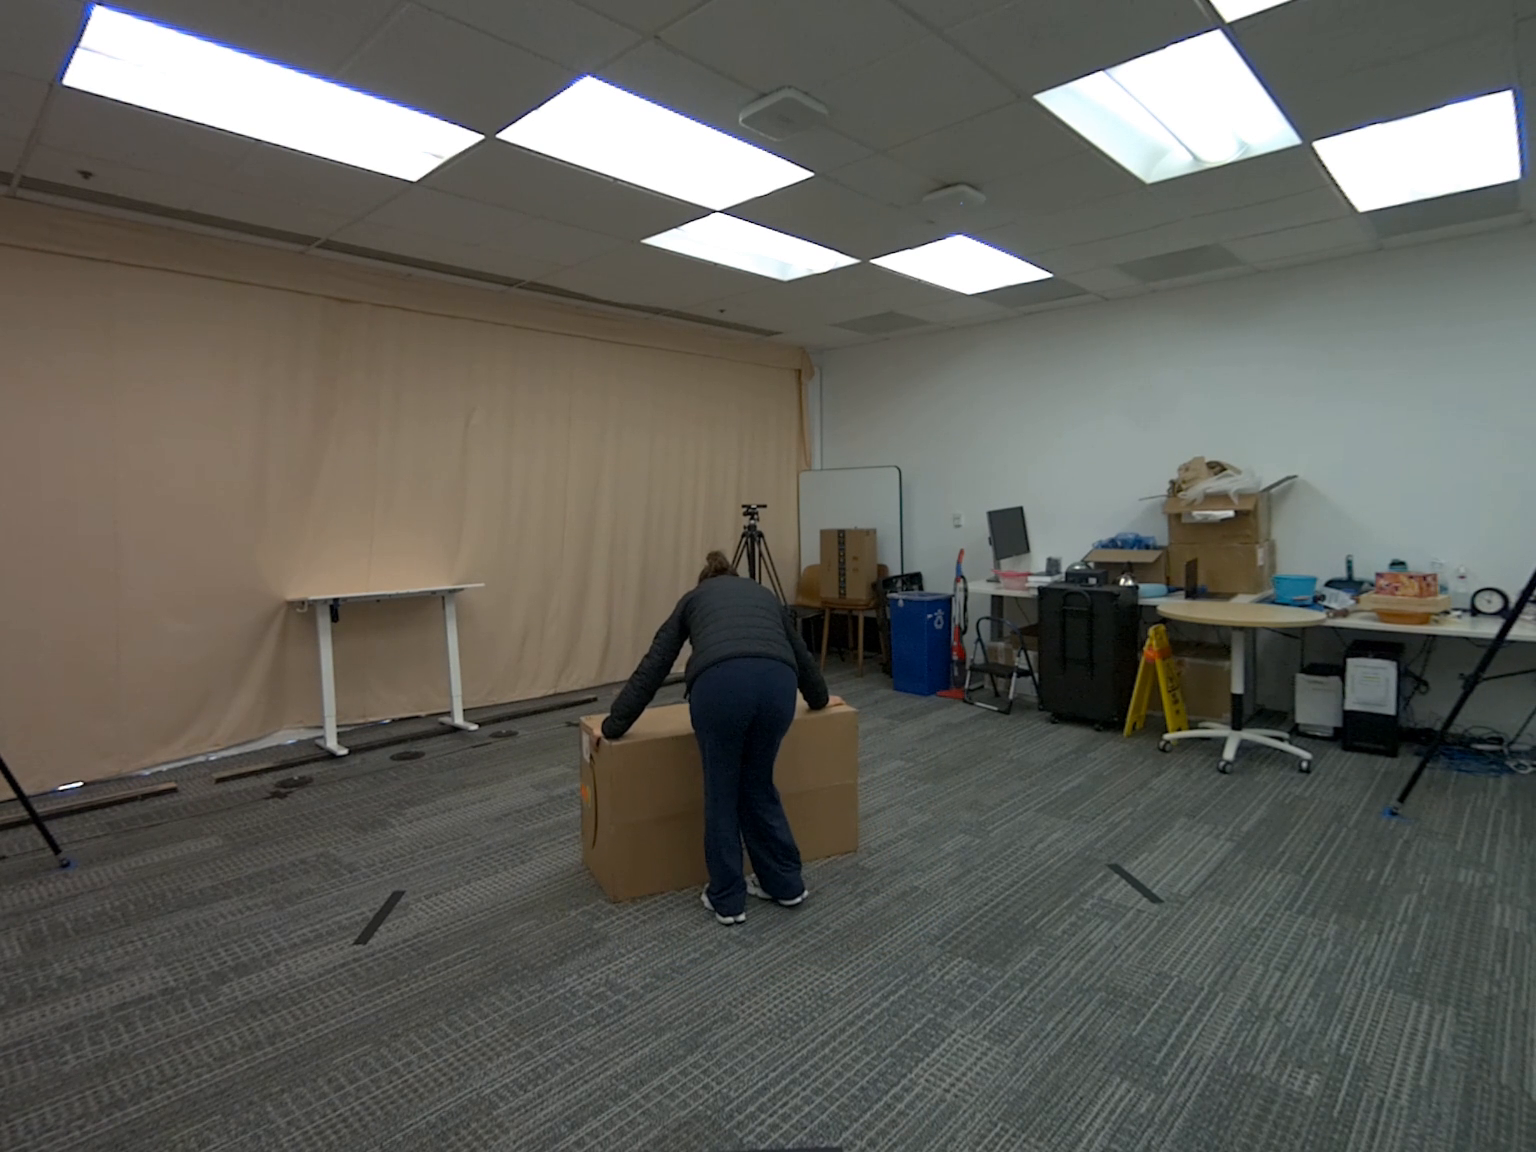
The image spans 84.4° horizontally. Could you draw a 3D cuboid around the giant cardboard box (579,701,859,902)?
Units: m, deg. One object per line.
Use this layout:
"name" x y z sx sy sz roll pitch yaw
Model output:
"giant cardboard box" -0.185 0.827 3.342 1.004 0.582 0.458 -3 6 -24
